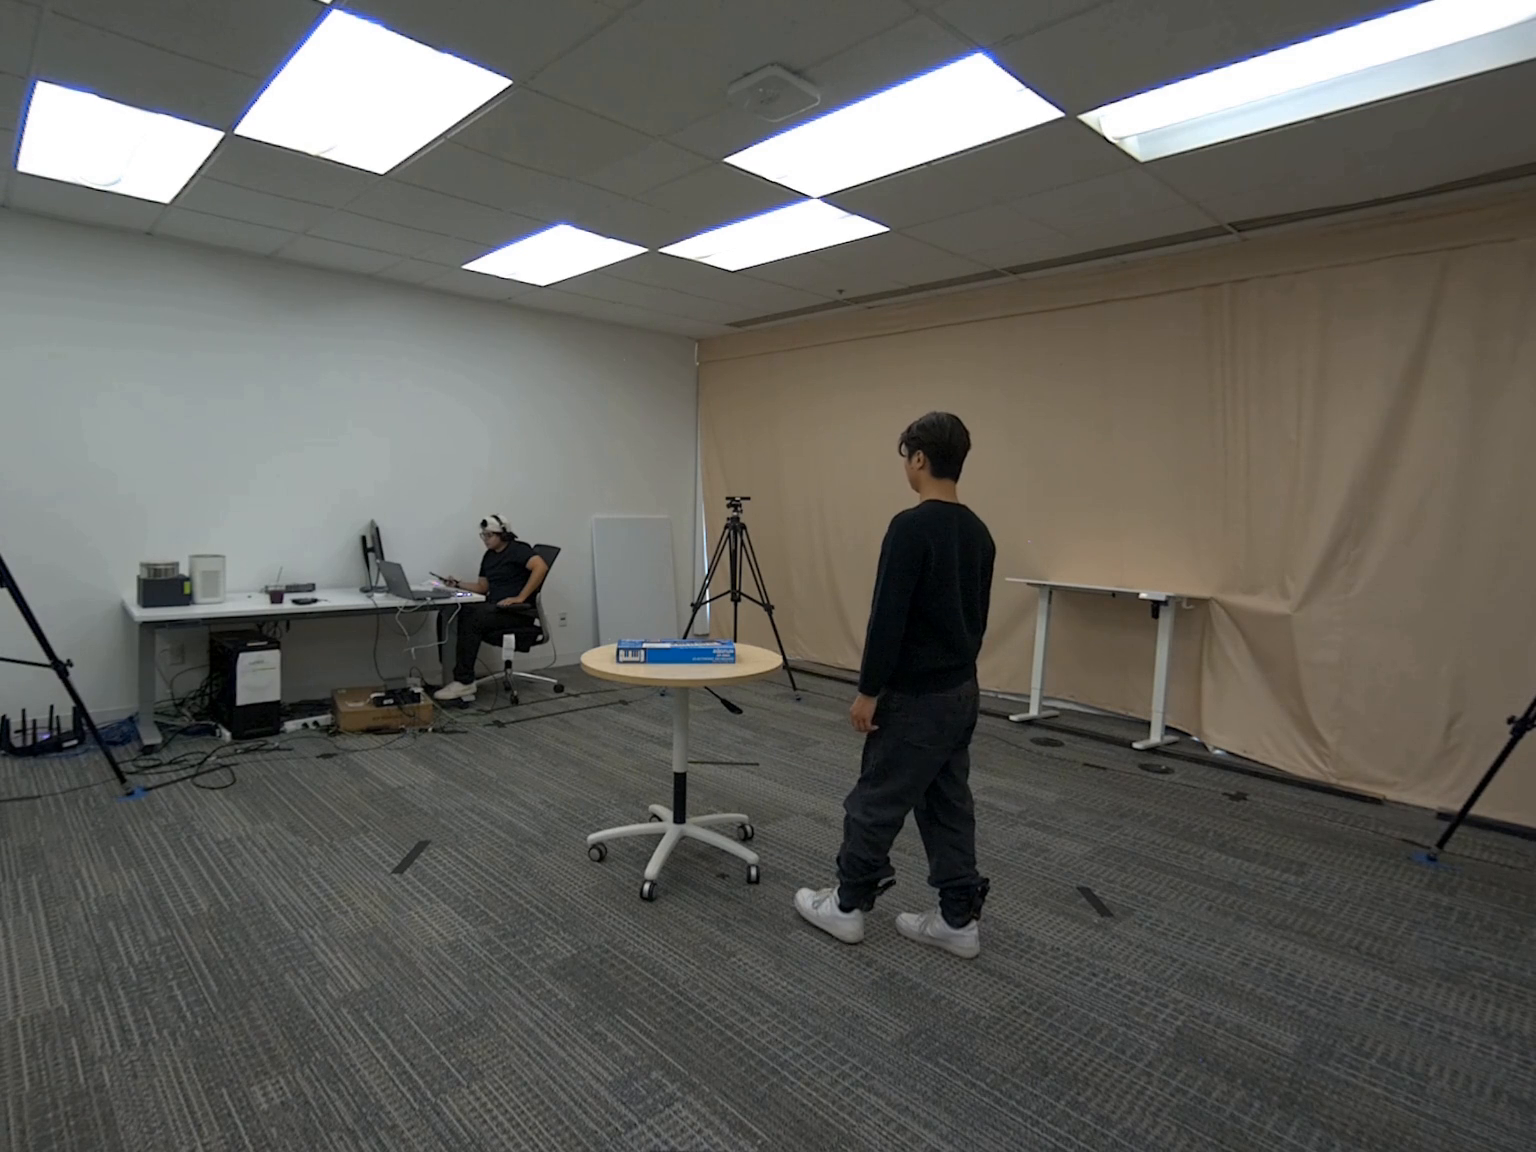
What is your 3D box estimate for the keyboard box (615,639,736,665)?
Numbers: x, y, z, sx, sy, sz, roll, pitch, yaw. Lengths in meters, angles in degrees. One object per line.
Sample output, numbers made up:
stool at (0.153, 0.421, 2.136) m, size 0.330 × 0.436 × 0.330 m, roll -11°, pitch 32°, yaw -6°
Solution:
keyboard box at (-0.356, 0.281, 3.169) m, size 0.434 × 0.059 × 0.177 m, roll 0°, pitch 6°, yaw -7°
